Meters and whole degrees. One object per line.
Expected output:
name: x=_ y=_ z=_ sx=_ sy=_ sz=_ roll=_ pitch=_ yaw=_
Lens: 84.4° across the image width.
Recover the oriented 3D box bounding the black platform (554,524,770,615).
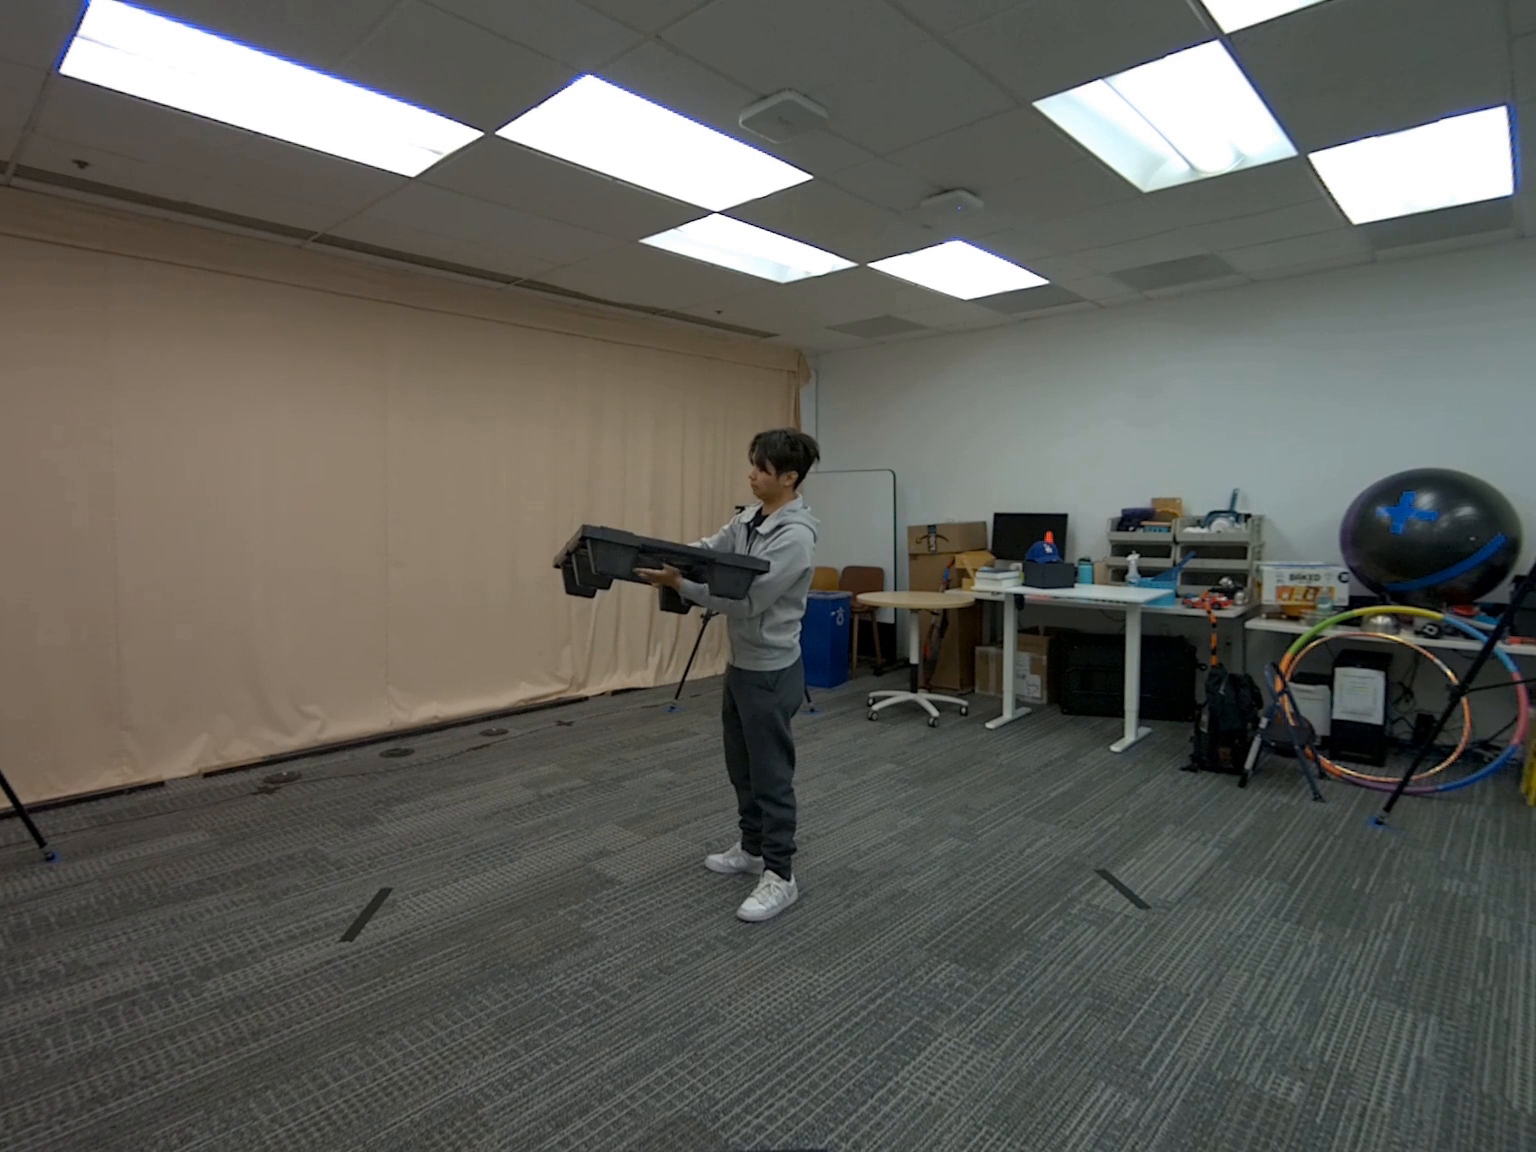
black platform: x=-0.410 y=0.014 z=2.902 sx=0.594 sy=0.144 sz=0.816 roll=10 pitch=-11 yaw=-17
